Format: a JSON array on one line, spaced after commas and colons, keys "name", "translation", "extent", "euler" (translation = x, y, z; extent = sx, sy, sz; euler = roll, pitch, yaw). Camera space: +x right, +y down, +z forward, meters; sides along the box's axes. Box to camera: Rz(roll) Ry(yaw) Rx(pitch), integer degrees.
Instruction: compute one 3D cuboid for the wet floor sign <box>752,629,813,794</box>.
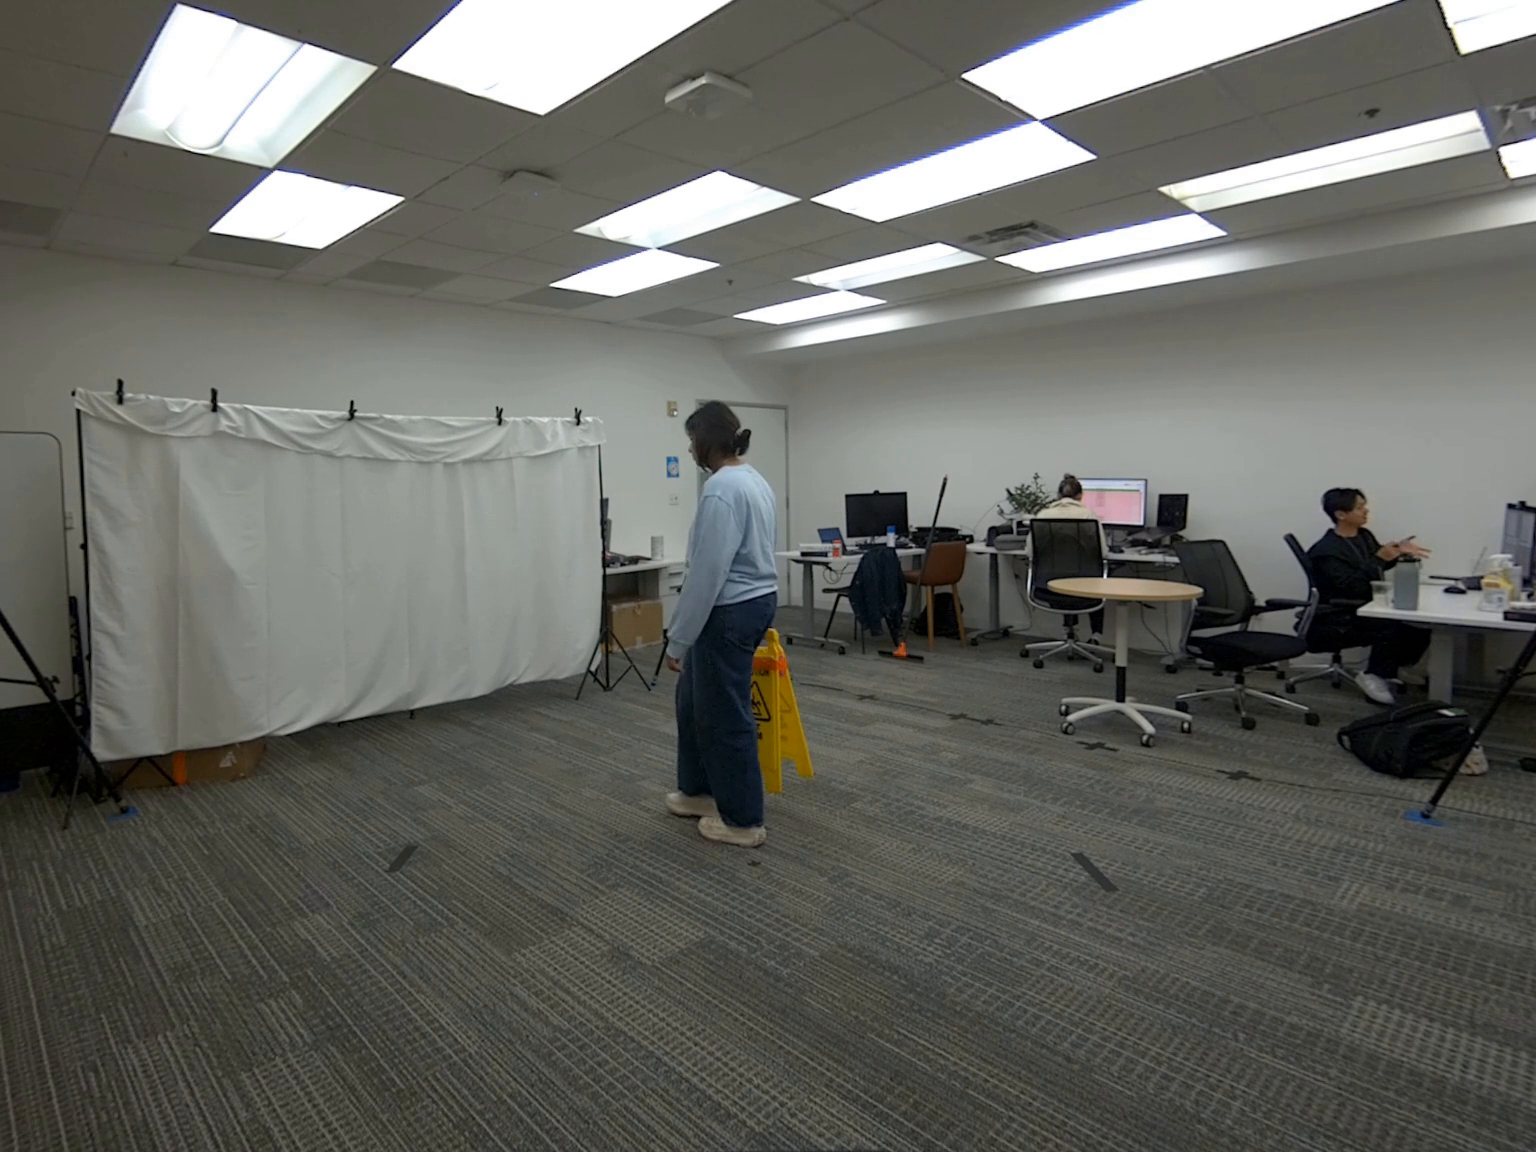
[{"name": "wet floor sign", "translation": [-0.021, 0.553, 3.620], "extent": [0.289, 0.646, 0.282], "euler": [-6, 0, 40]}]
